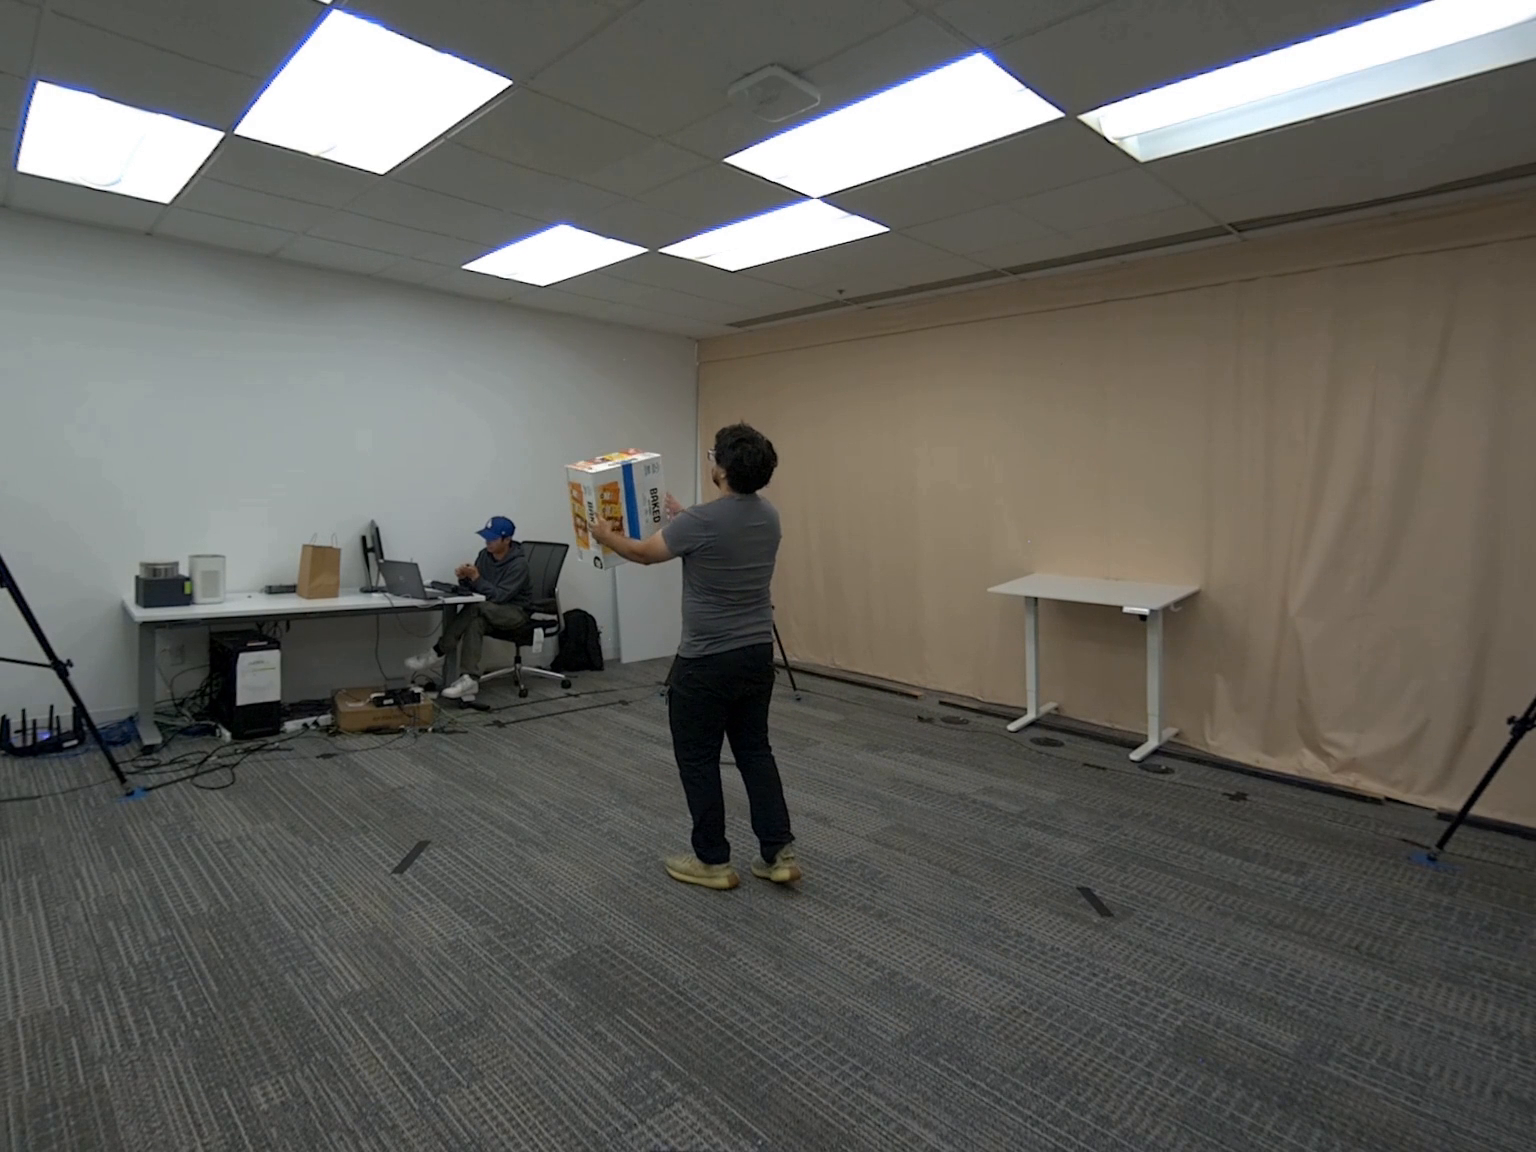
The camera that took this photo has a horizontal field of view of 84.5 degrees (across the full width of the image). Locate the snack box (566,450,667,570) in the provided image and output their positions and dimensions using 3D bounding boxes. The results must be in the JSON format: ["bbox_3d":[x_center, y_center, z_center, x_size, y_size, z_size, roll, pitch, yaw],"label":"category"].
[{"bbox_3d":[-0.625,-0.279,3.465,0.335,0.399,0.212,-21,26,-38],"label":"snack box"}]
